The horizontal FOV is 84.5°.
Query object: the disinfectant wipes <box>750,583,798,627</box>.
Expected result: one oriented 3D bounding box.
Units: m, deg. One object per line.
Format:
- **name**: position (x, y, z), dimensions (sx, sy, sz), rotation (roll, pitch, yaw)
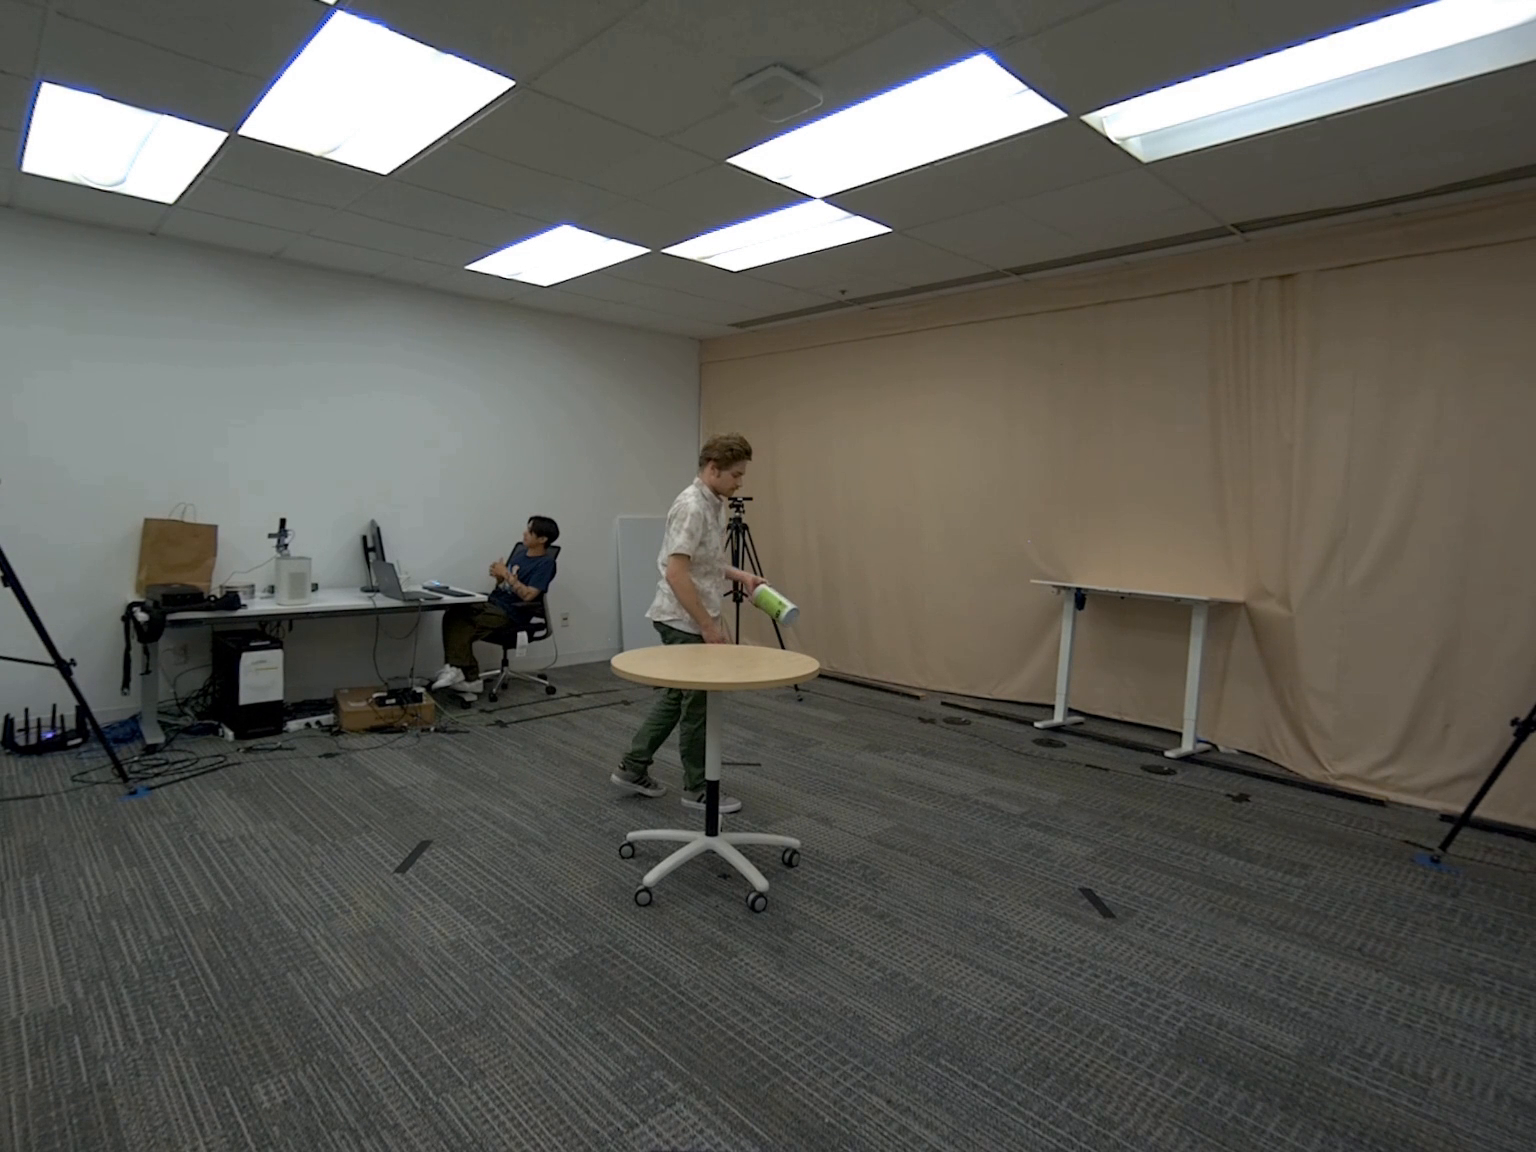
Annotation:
- **disinfectant wipes**: position (0.022, 0.130, 3.827), dimensions (0.115, 0.117, 0.224), rotation (-3, 32, -46)
